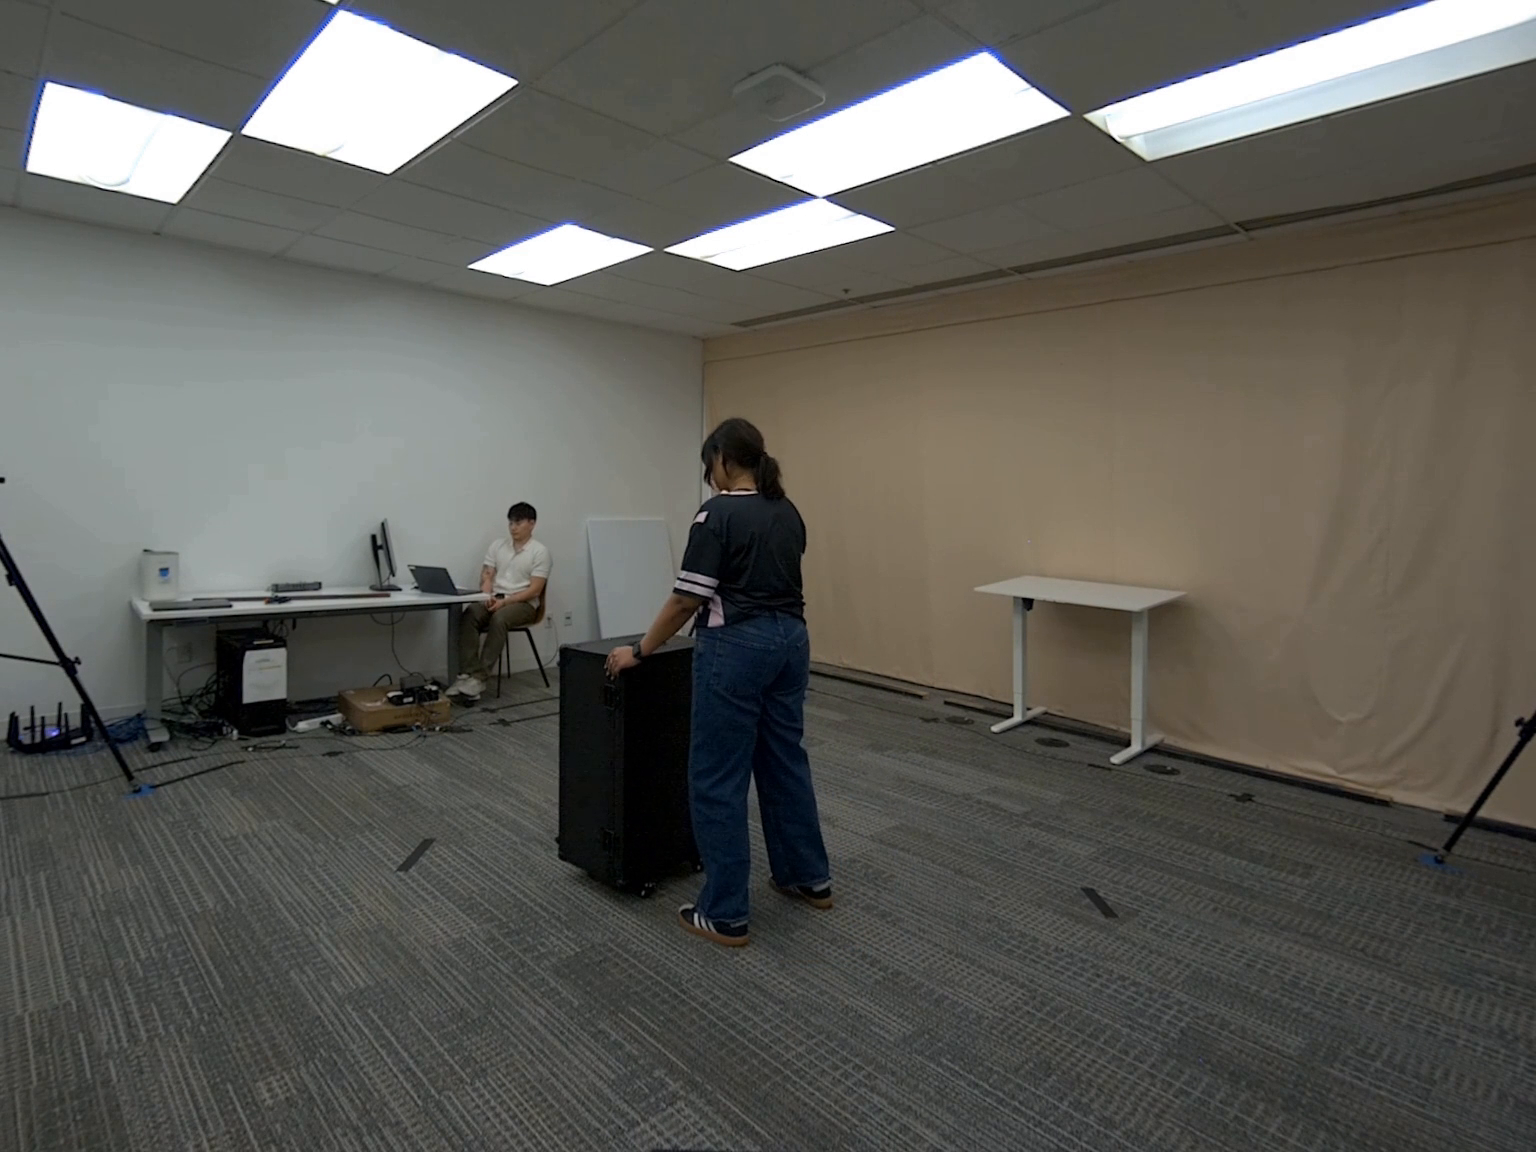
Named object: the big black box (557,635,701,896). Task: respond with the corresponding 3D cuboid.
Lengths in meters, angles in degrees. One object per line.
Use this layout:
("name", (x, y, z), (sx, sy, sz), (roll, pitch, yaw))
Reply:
("big black box", (-0.485, 0.672, 3.103), (0.406, 0.860, 0.509), (2, 3, 41))
